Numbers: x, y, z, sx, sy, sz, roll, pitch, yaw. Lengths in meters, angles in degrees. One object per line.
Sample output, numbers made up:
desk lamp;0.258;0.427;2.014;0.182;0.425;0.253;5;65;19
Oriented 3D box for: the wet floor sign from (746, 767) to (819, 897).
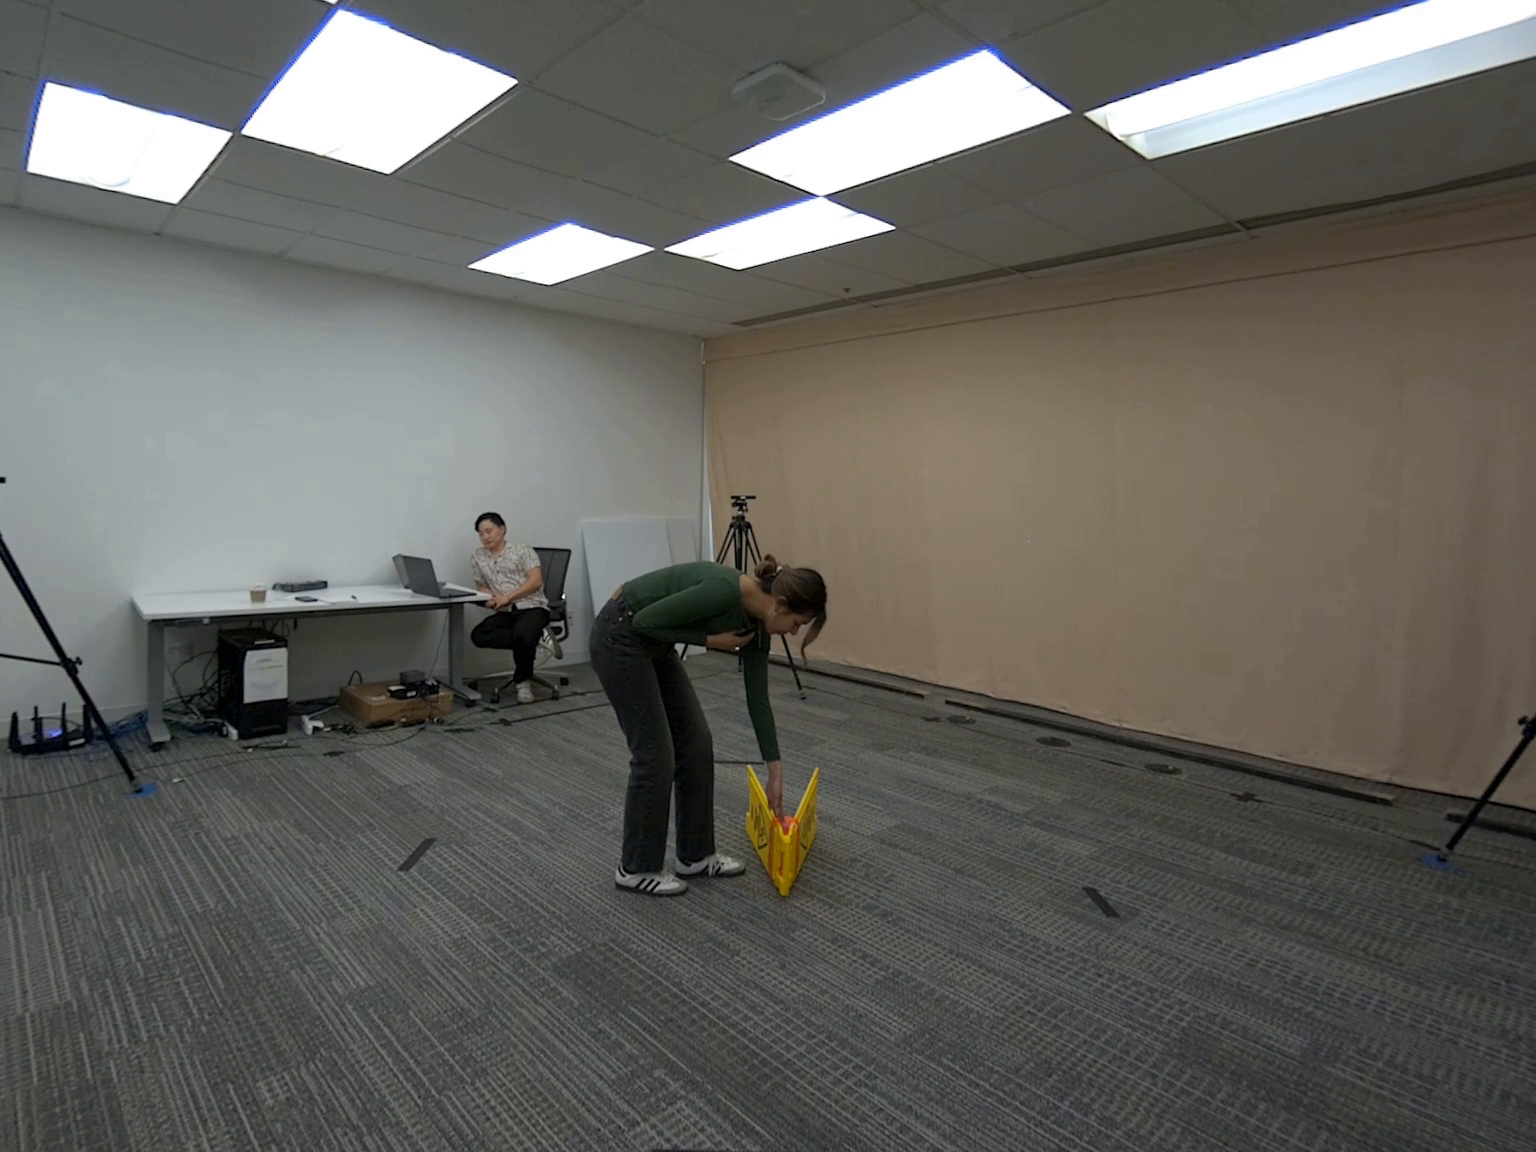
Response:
wet floor sign;0.056;0.966;3.195;0.290;0.281;0.649;2;7;-1
